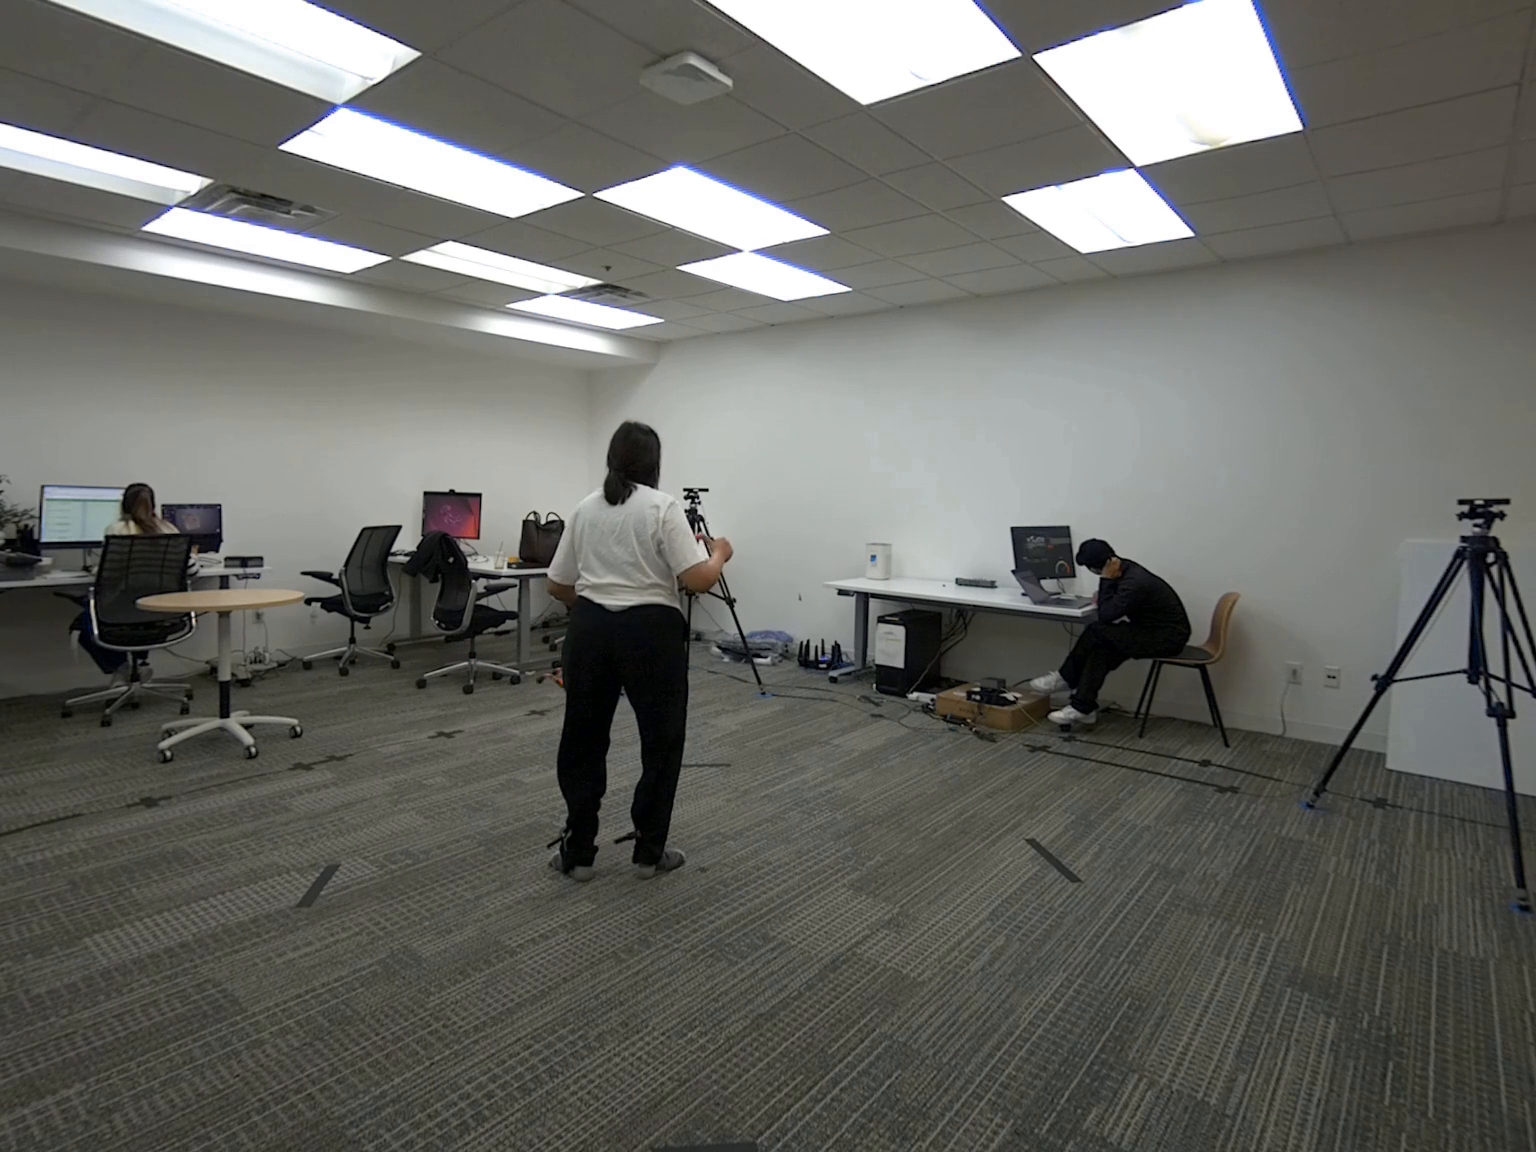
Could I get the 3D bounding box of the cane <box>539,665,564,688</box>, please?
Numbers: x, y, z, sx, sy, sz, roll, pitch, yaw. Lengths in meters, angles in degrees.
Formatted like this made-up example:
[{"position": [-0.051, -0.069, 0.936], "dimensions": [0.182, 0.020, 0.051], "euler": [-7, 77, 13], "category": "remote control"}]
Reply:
[{"position": [-0.525, 0.159, 3.319], "dimensions": [0.909, 0.209, 0.149], "euler": [-43, -8, 11], "category": "cane"}]
